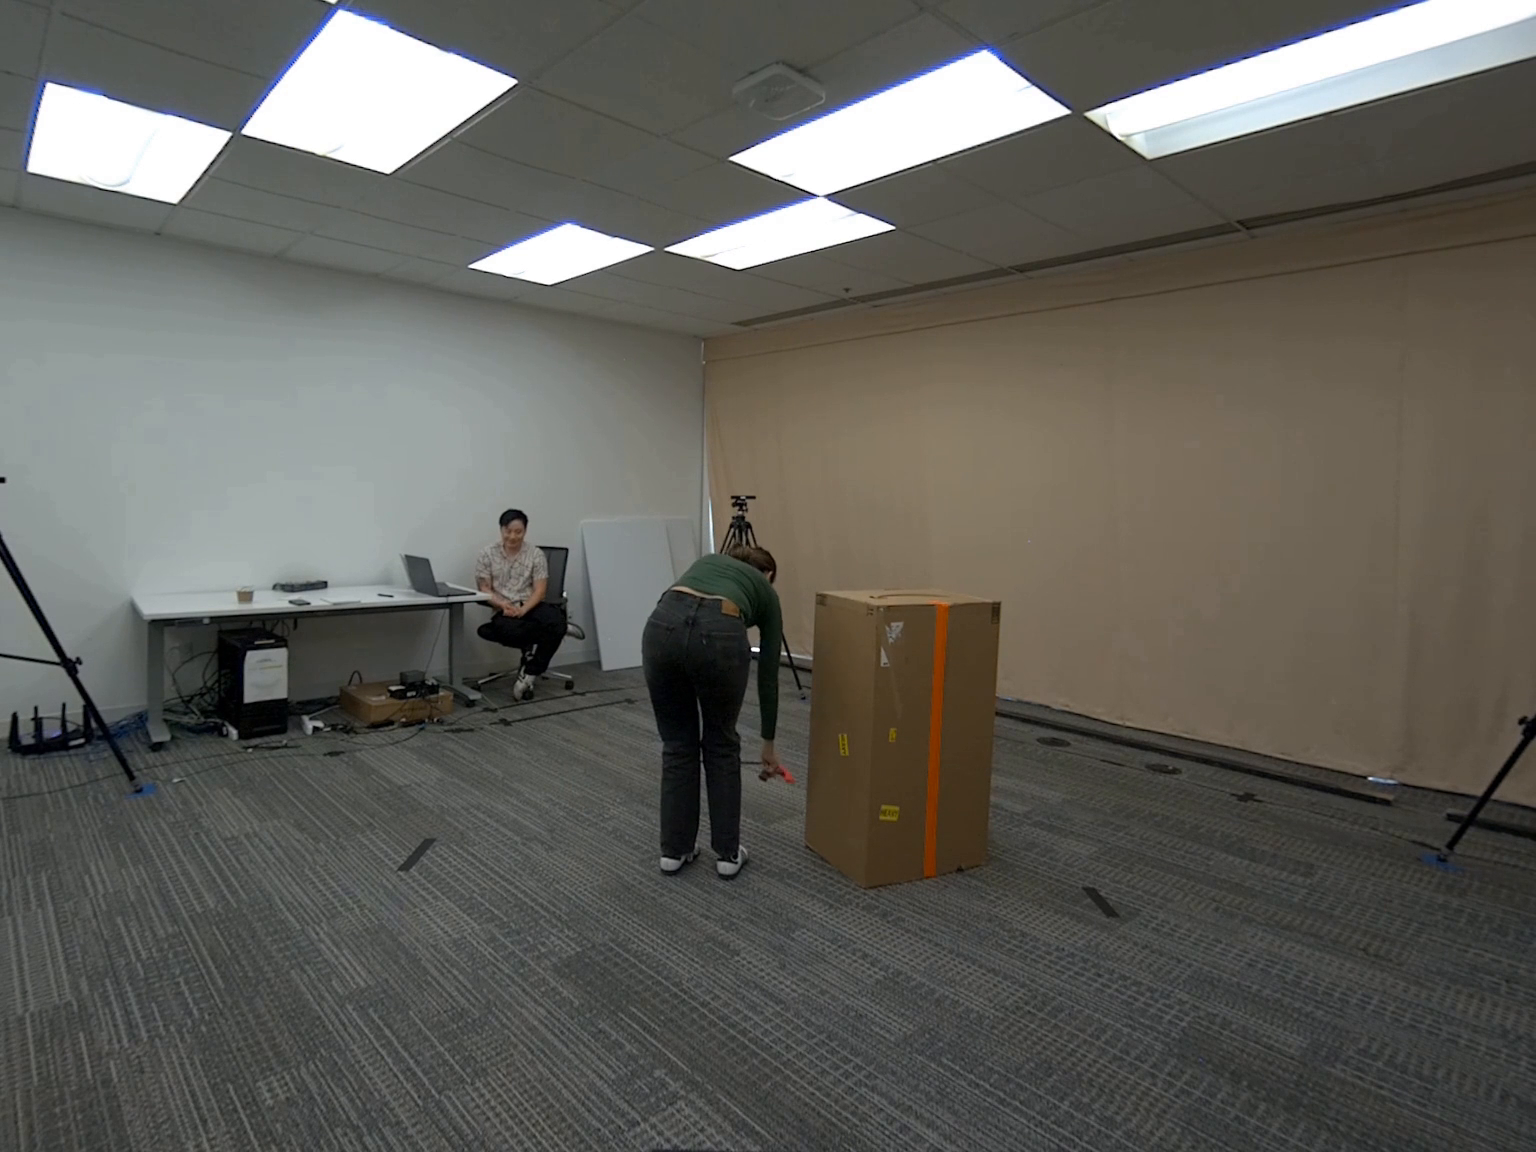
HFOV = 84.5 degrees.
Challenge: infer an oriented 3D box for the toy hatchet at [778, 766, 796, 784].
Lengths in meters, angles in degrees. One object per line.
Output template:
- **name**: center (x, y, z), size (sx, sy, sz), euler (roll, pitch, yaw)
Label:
- **toy hatchet**: center (0.043, 0.816, 3.421), size (0.133, 0.029, 0.266), euler (37, 7, 11)
